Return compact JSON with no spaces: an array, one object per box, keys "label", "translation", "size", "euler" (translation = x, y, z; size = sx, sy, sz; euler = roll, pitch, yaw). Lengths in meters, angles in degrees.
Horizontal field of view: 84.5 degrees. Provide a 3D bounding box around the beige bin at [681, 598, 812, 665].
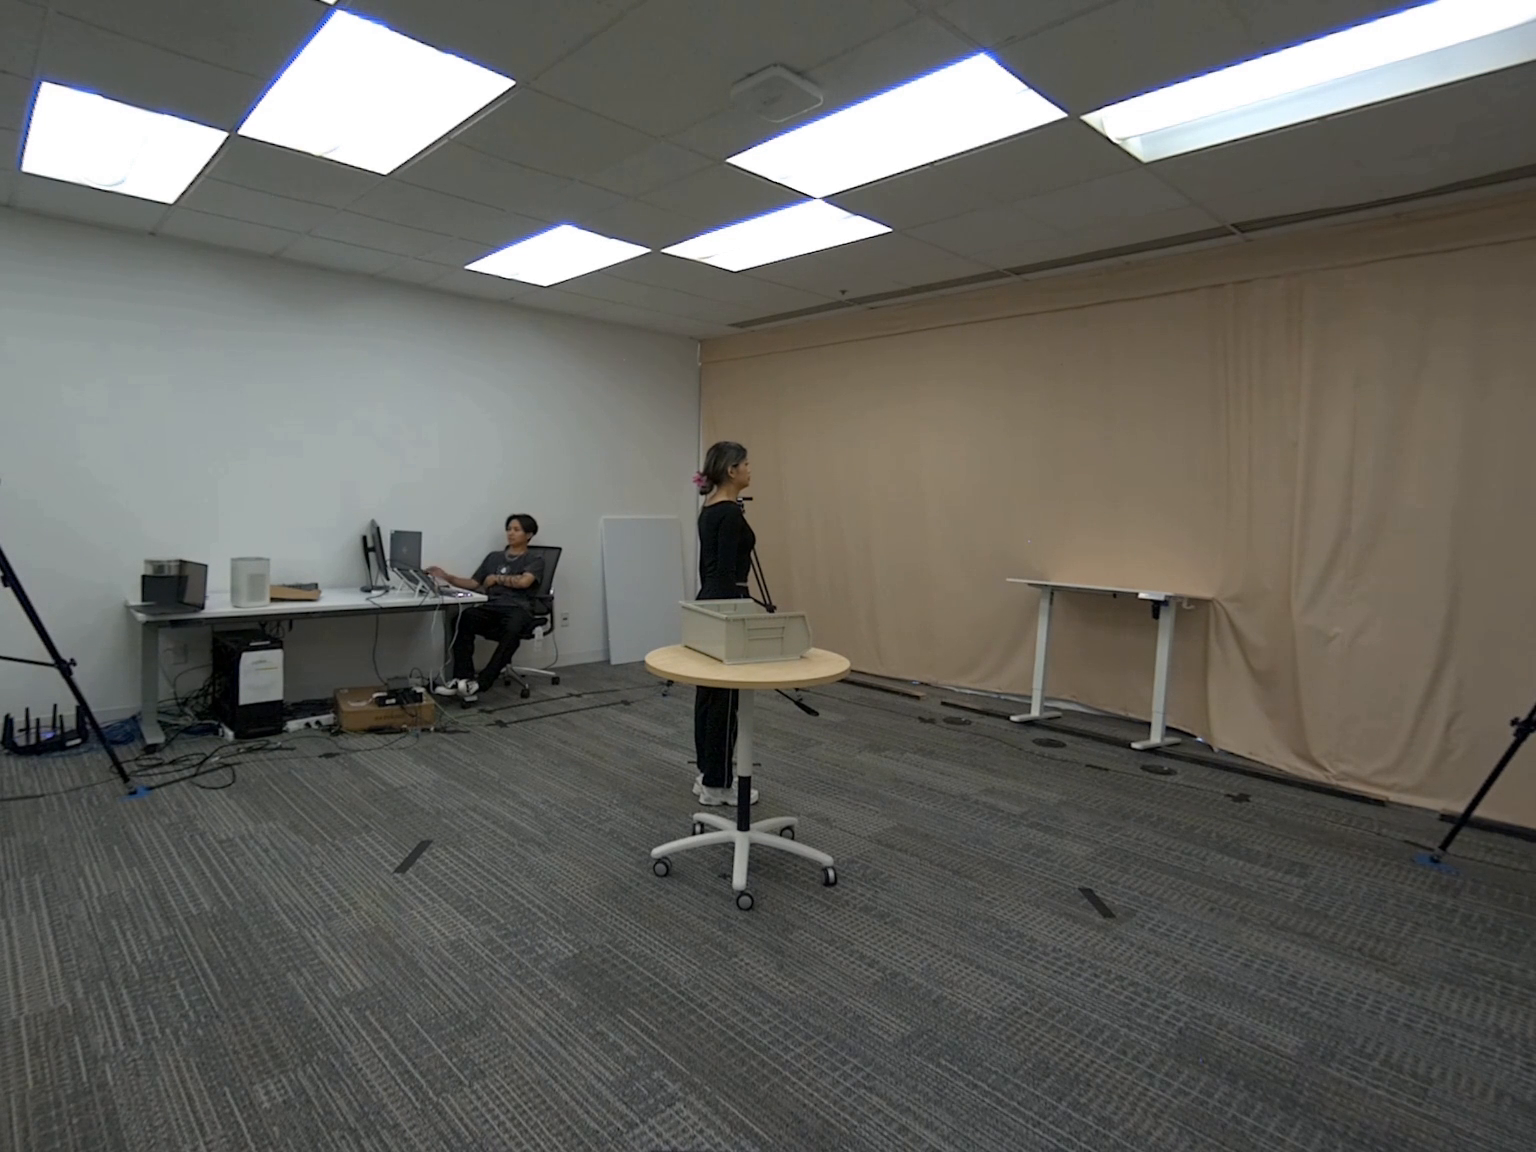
[{"label":"beige bin","translation":[-0.100,0.209,3.286],"size":[0.370,0.188,0.432],"euler":[-2,7,-28]}]
